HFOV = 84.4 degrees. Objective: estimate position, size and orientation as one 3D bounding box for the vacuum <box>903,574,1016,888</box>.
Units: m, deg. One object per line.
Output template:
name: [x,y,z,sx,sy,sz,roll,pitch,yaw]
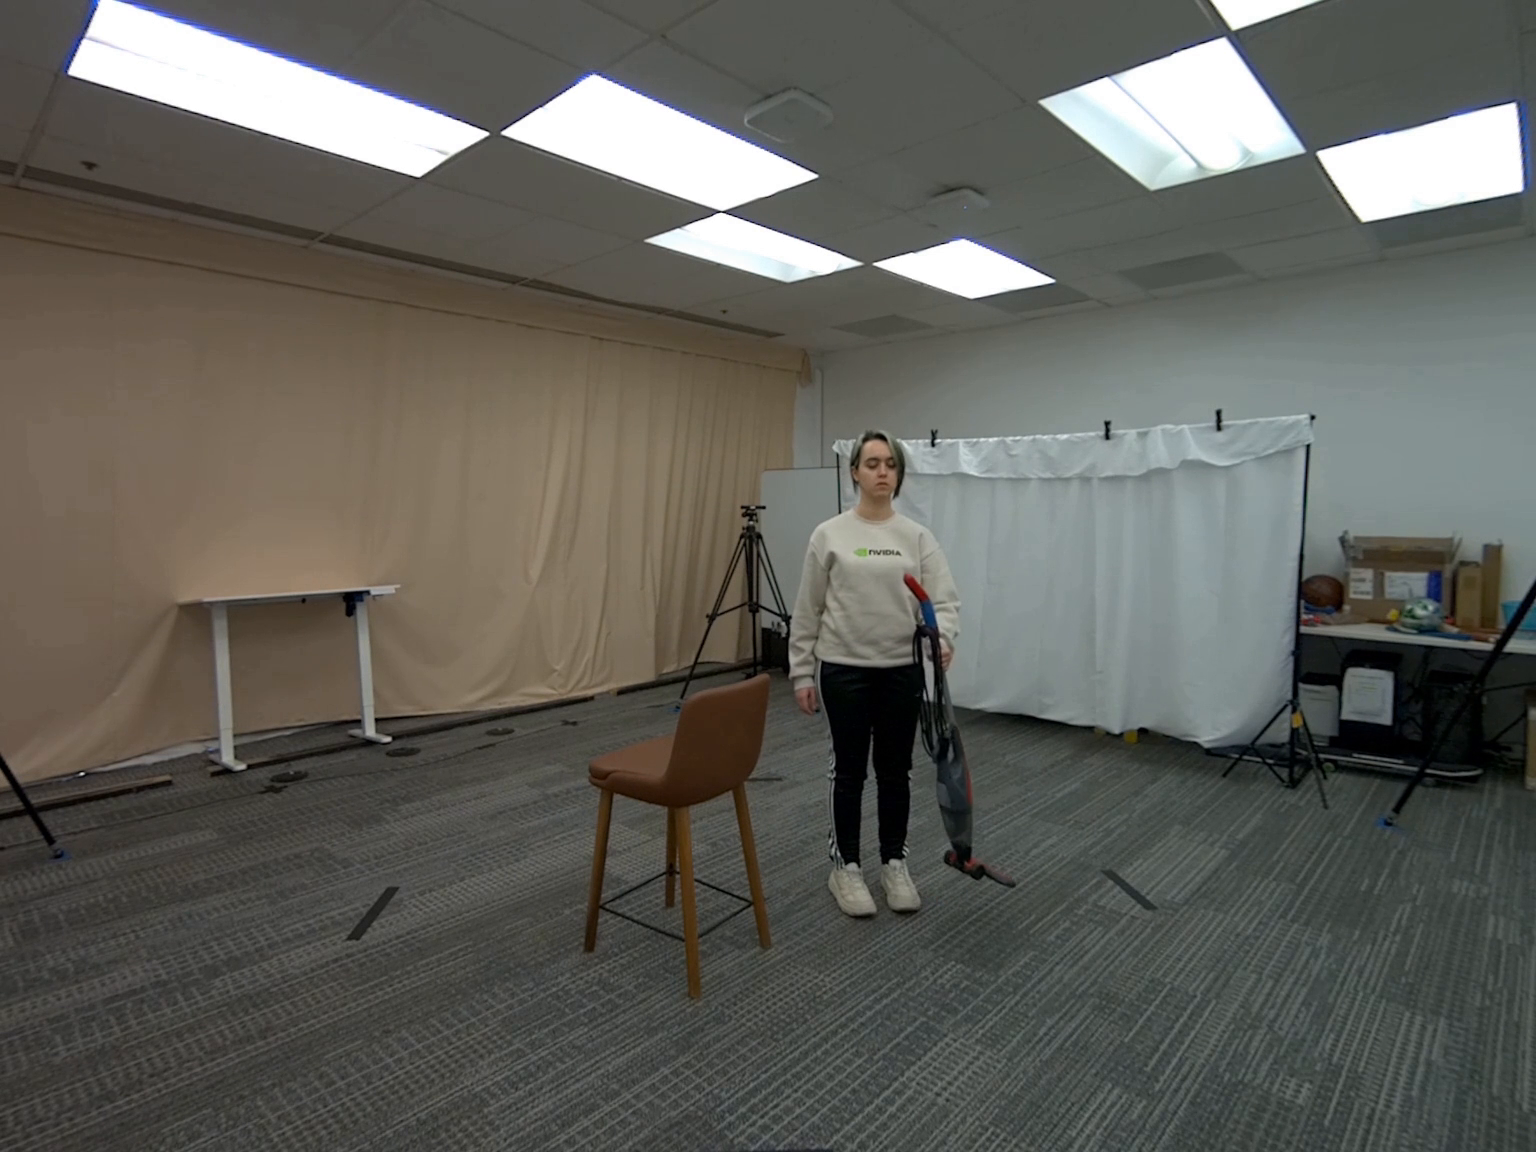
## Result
vacuum: [0.561,0.486,2.648,0.141,1.035,0.261,-23,18,-28]
